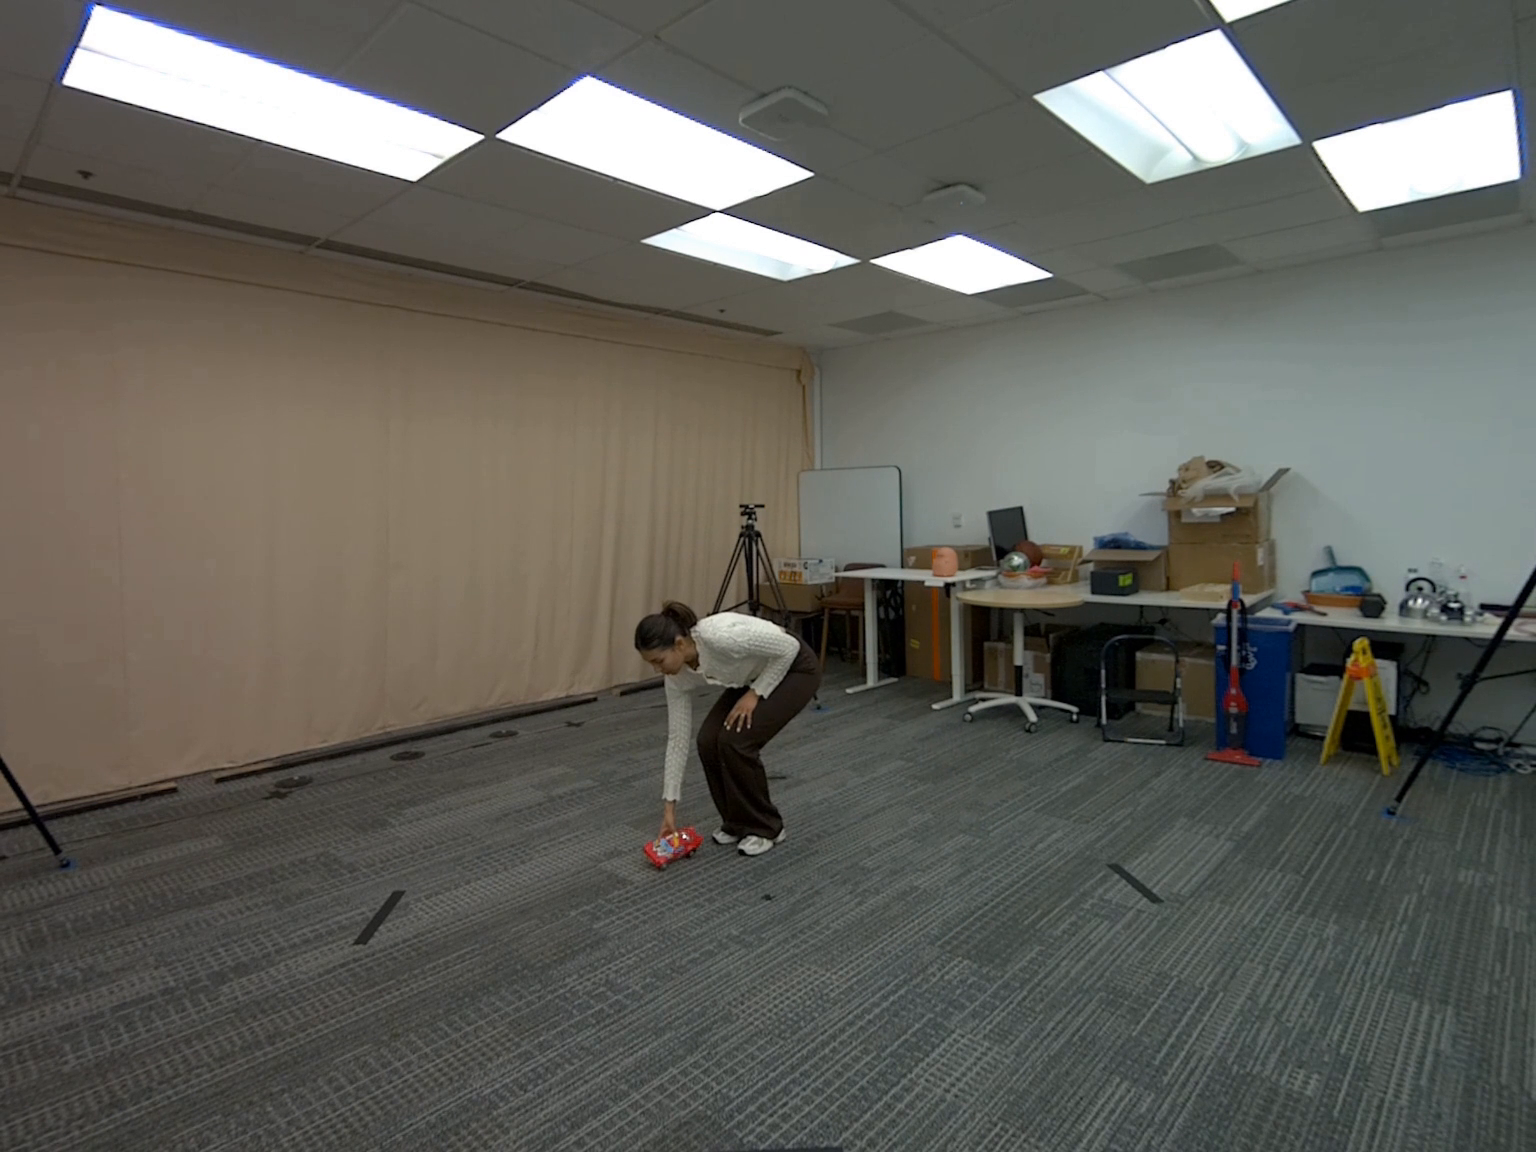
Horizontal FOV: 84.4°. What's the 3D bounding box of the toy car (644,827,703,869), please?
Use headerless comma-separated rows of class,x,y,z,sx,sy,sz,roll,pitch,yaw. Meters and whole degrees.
toy car,-0.371,1.061,3.304,0.248,0.082,0.135,-20,41,-38
